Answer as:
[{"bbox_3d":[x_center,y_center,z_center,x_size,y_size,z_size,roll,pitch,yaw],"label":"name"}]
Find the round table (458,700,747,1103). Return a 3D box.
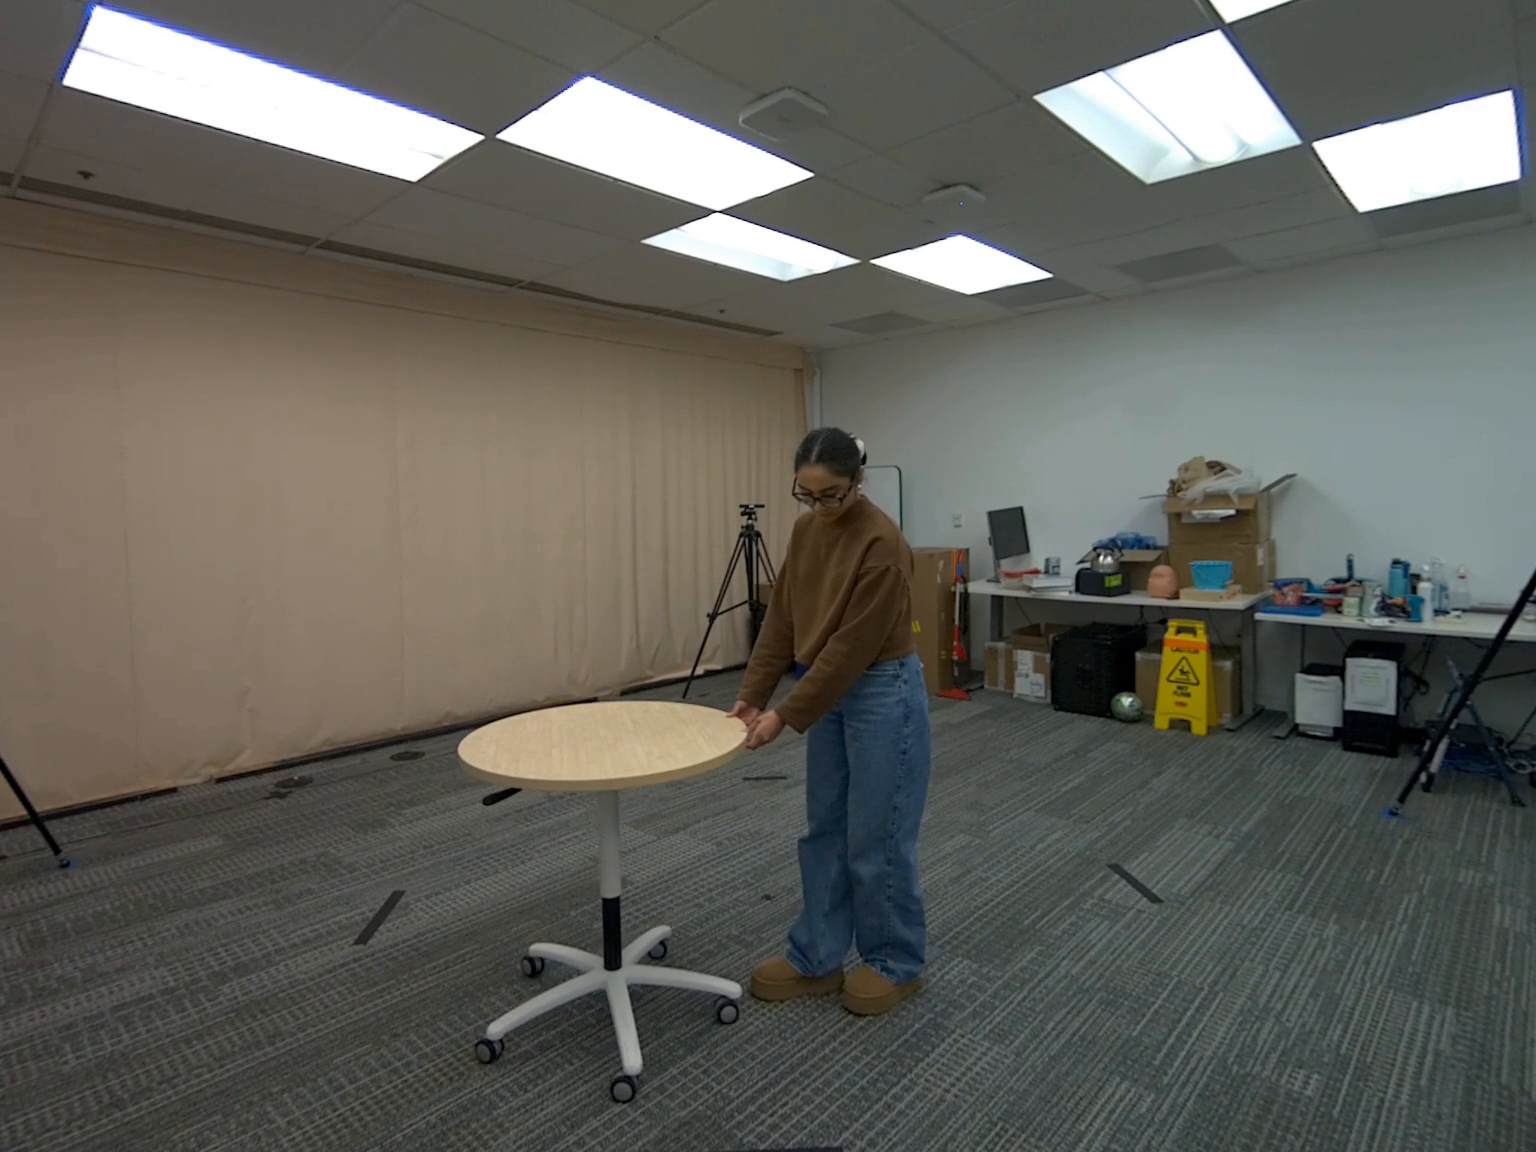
[{"bbox_3d":[-0.427,0.824,2.287,0.763,0.792,0.767,-1,4,-2],"label":"round table"}]
